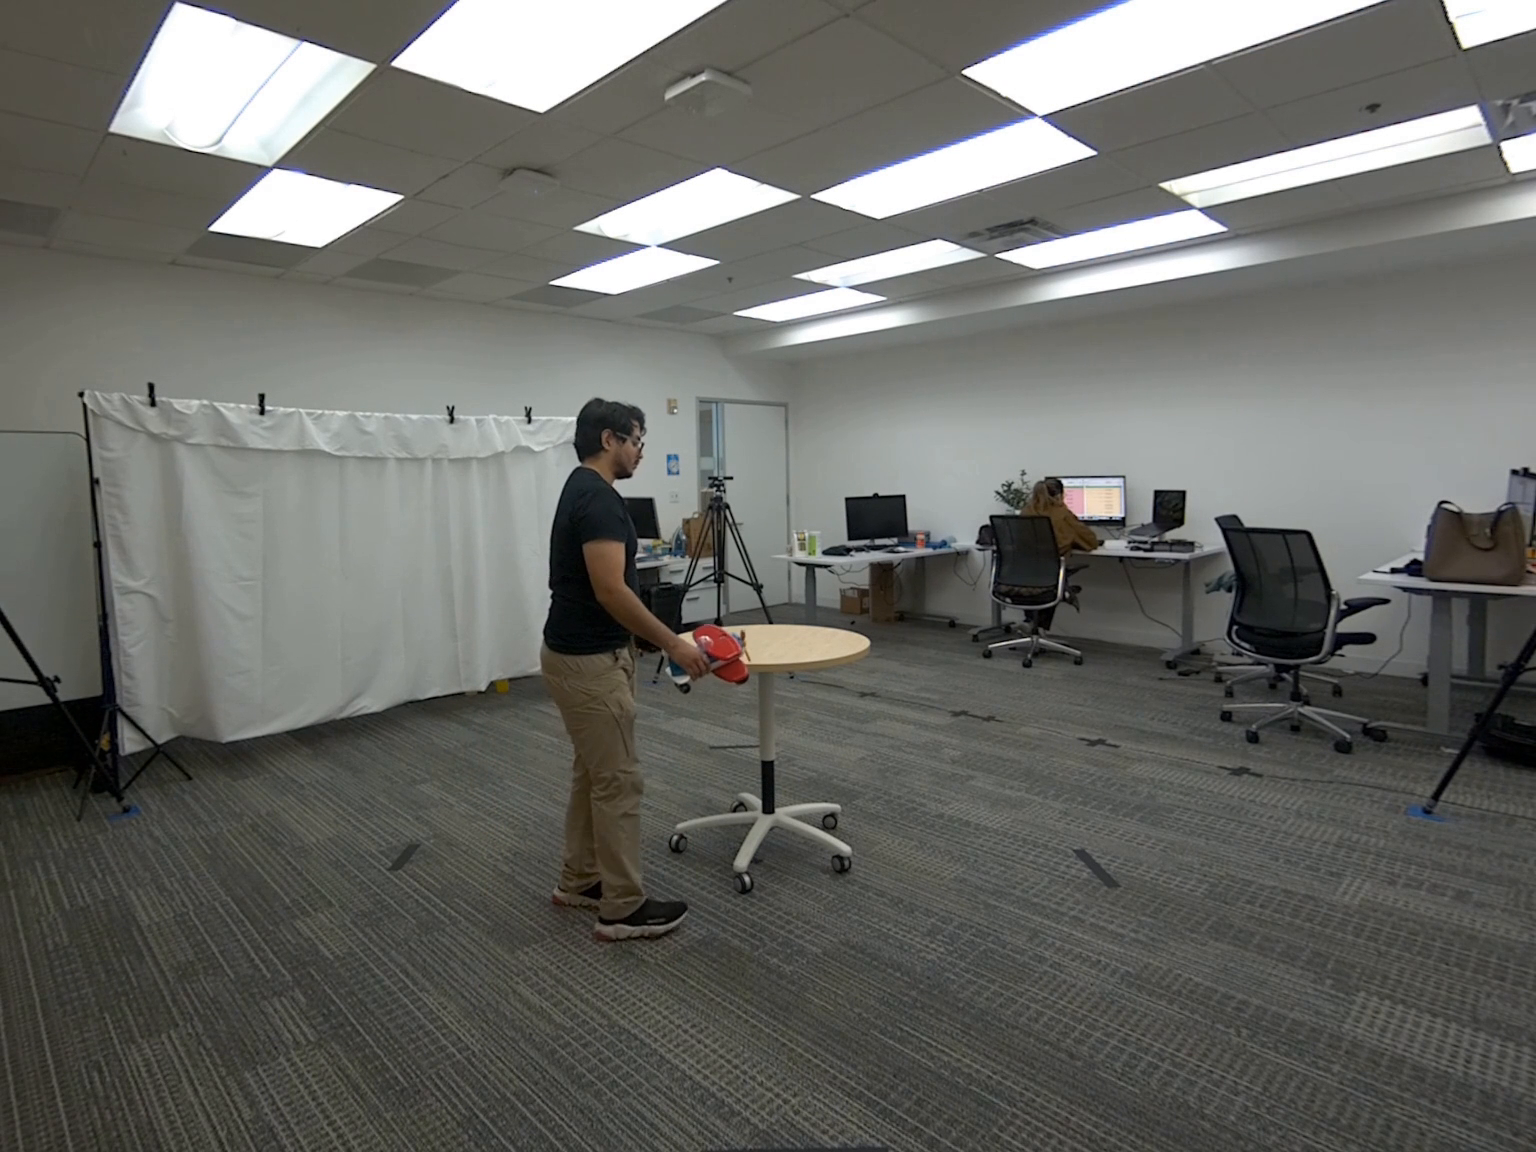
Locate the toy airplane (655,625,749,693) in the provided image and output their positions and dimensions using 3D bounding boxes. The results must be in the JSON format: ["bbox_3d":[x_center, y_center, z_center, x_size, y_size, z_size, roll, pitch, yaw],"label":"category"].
[{"bbox_3d":[-0.170,0.266,2.628,0.259,0.154,0.255,9,19,34],"label":"toy airplane"}]
